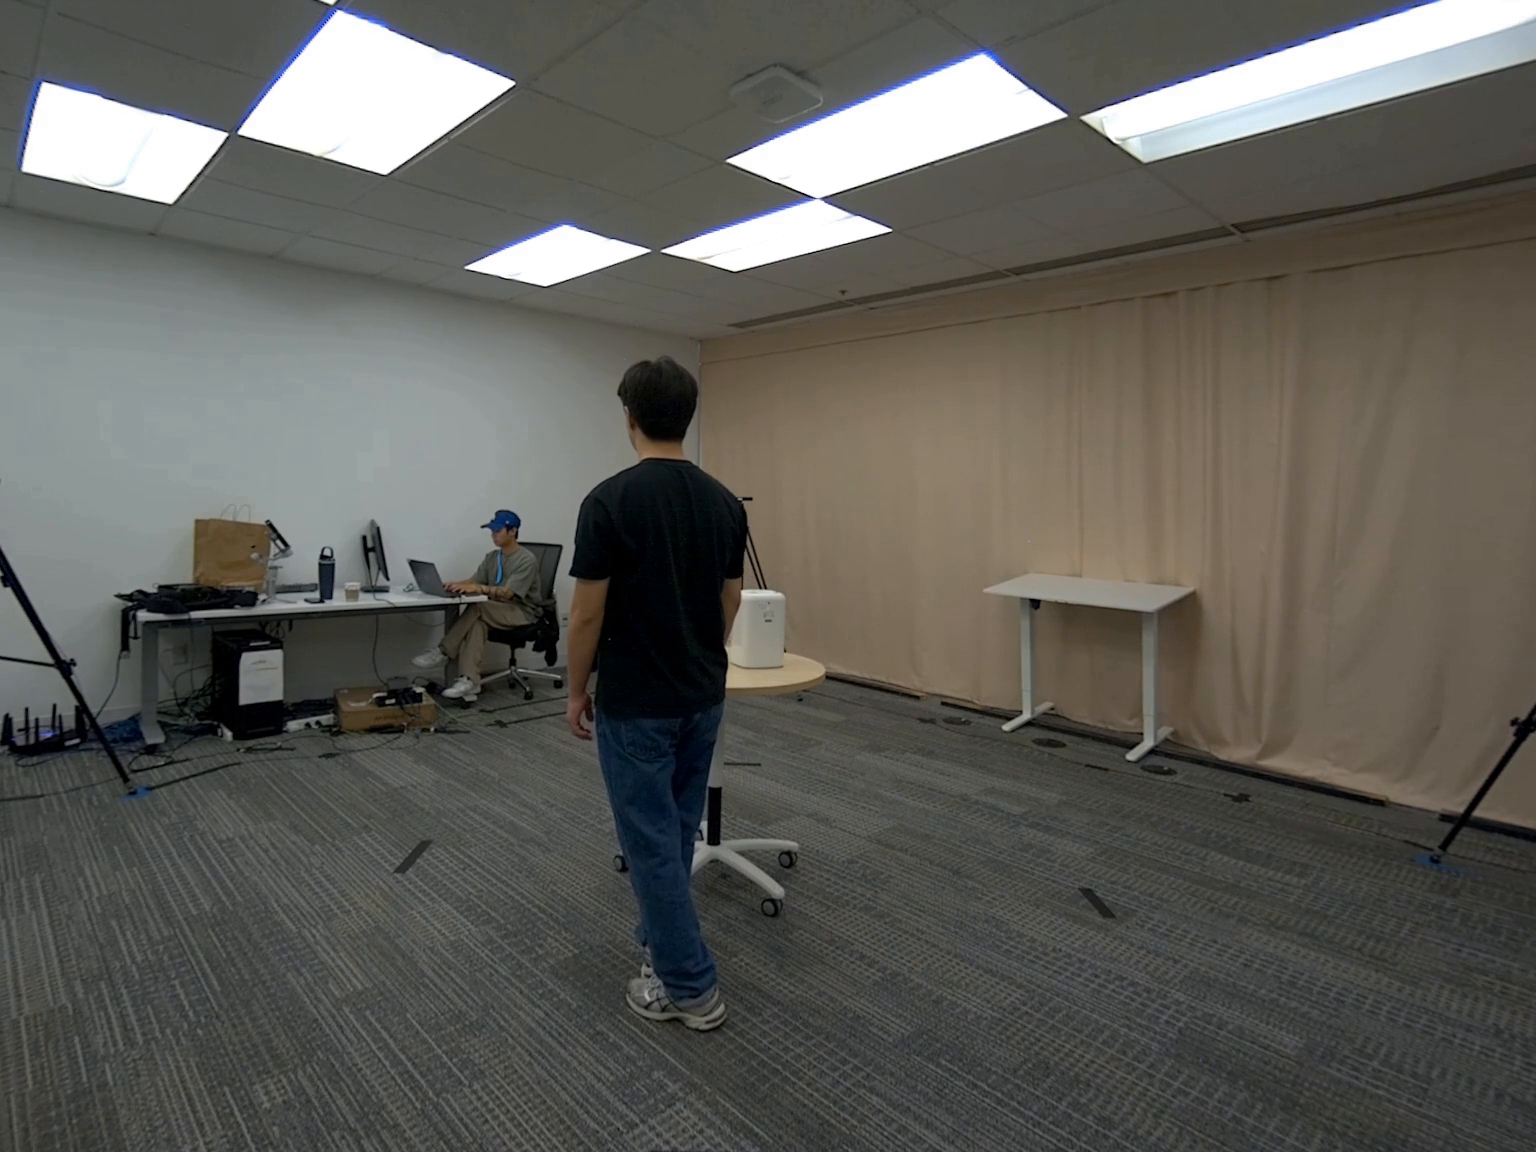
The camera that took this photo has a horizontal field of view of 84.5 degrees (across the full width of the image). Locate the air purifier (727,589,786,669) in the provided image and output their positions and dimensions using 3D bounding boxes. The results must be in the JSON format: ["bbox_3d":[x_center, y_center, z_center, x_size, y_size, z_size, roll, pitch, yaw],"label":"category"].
[{"bbox_3d":[-0.044,0.187,3.039,0.168,0.265,0.175,1,4,-24],"label":"air purifier"}]
